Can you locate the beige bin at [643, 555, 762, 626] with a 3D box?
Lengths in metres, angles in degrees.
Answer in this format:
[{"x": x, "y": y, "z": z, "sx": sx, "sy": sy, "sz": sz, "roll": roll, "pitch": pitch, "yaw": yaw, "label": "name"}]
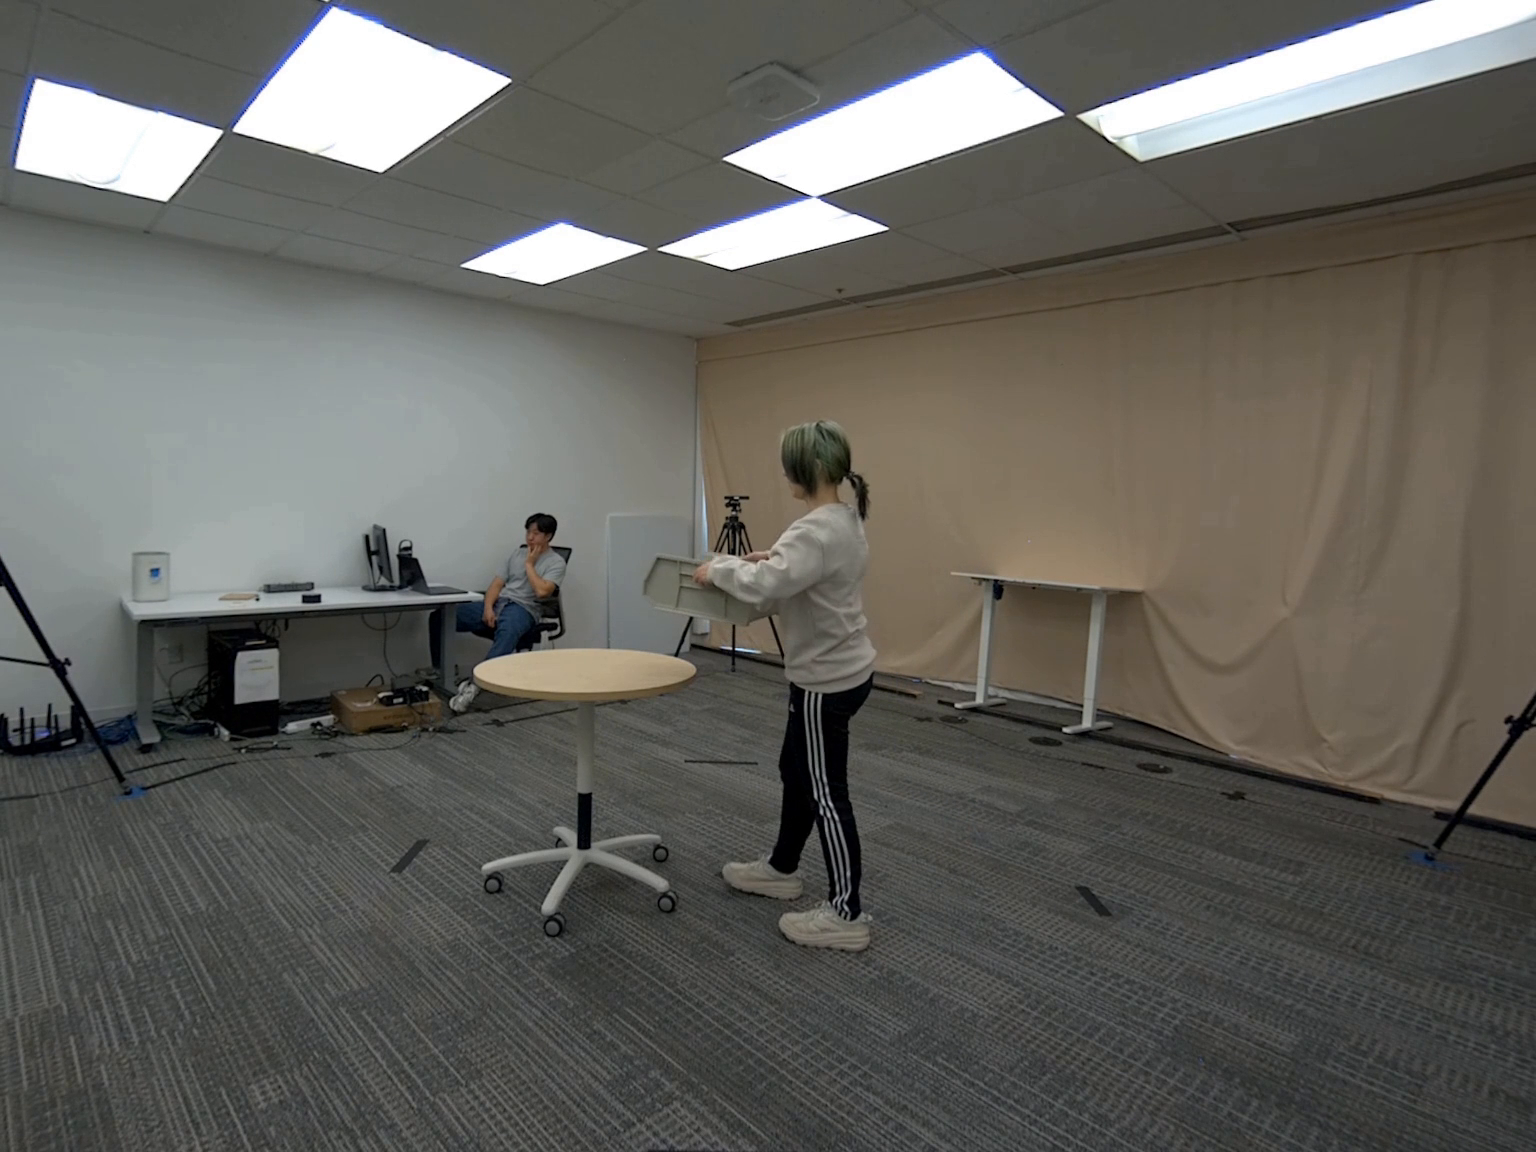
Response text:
[{"x": -0.173, "y": 0.027, "z": 2.835, "sx": 0.383, "sy": 0.188, "sz": 0.417, "roll": 9, "pitch": 4, "yaw": 16, "label": "beige bin"}]
